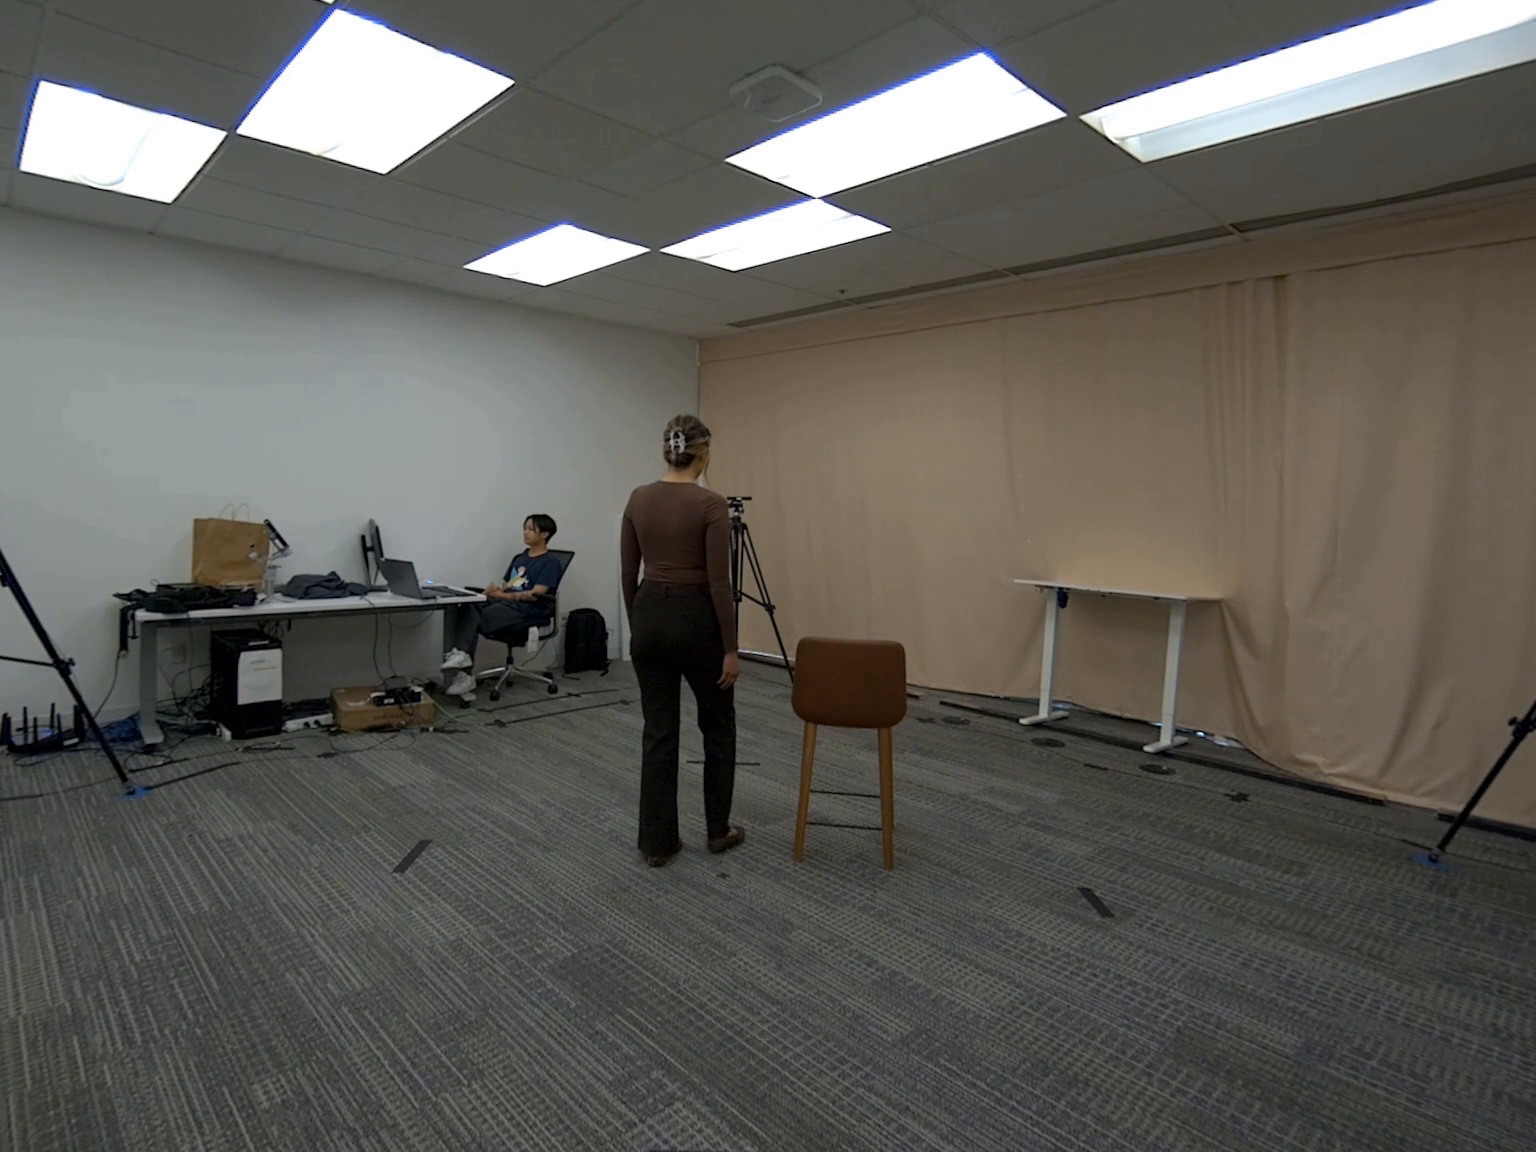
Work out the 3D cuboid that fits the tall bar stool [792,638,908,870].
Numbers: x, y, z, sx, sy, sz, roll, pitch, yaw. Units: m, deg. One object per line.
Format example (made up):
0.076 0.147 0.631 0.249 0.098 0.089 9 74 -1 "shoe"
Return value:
0.314 0.655 3.406 0.460 0.887 0.466 2 4 8 "tall bar stool"
